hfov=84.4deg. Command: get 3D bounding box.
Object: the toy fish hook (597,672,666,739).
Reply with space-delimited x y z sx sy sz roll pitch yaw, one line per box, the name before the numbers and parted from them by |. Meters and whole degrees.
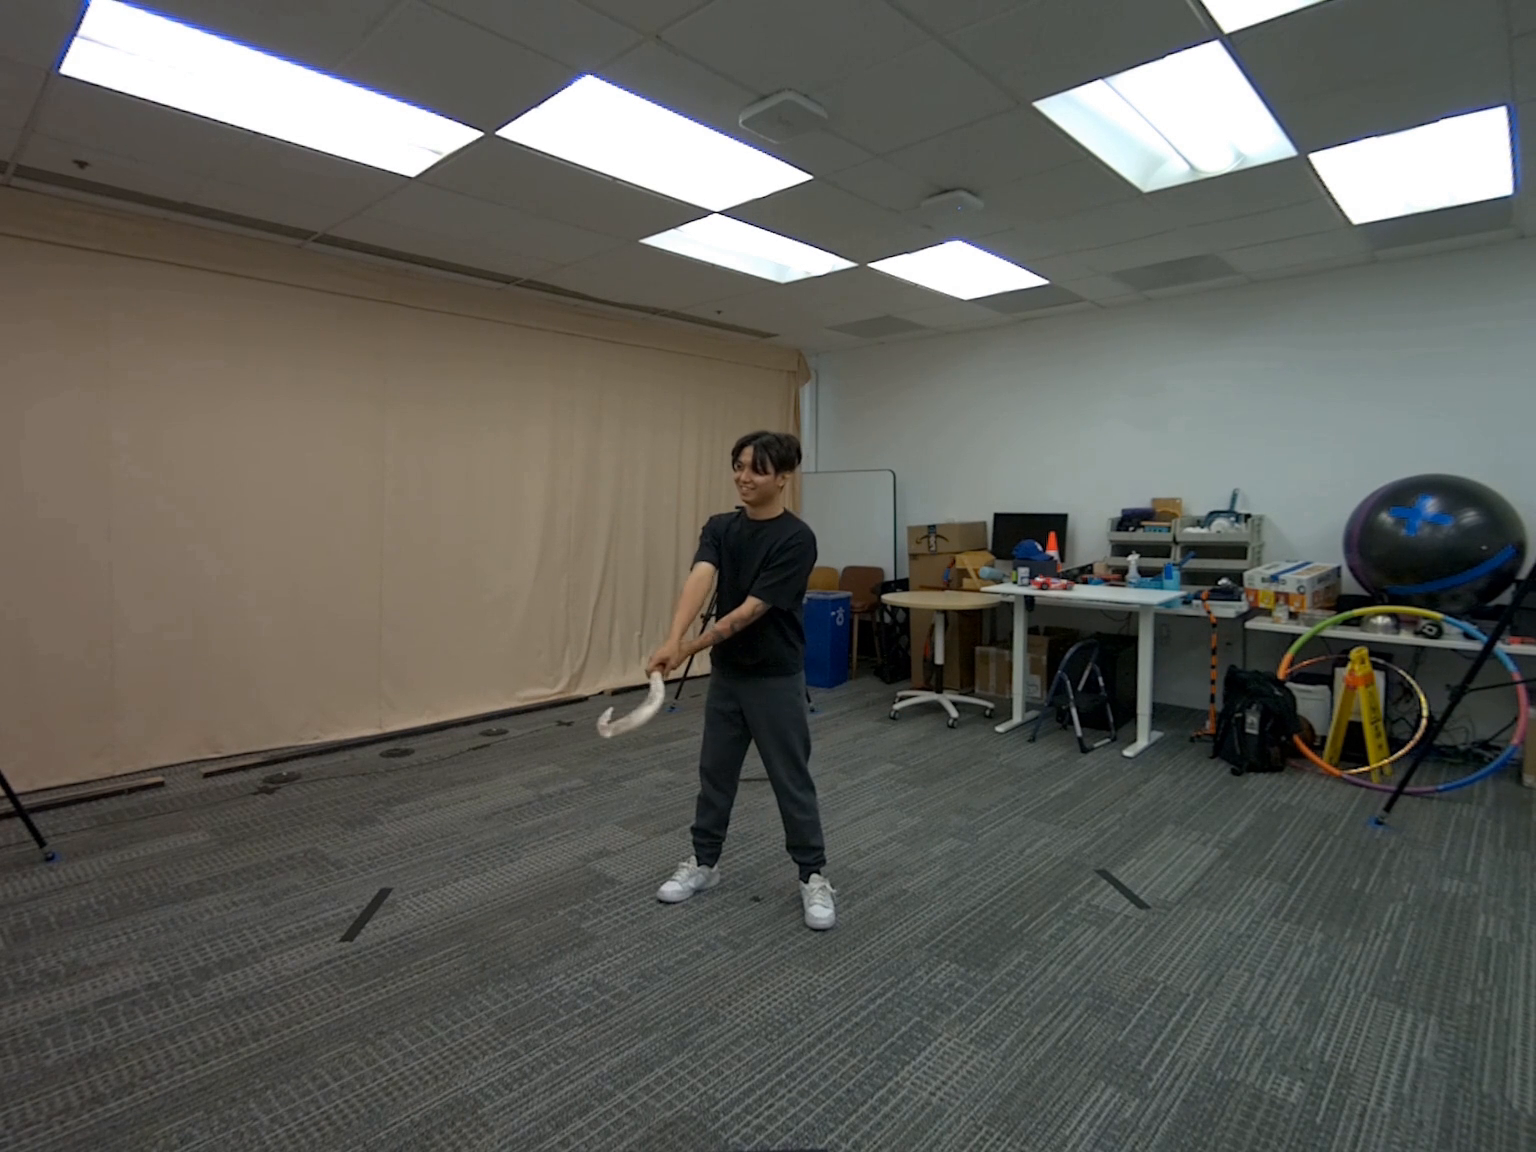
toy fish hook | -0.390 0.345 2.584 0.226 0.047 0.509 -21 15 9
